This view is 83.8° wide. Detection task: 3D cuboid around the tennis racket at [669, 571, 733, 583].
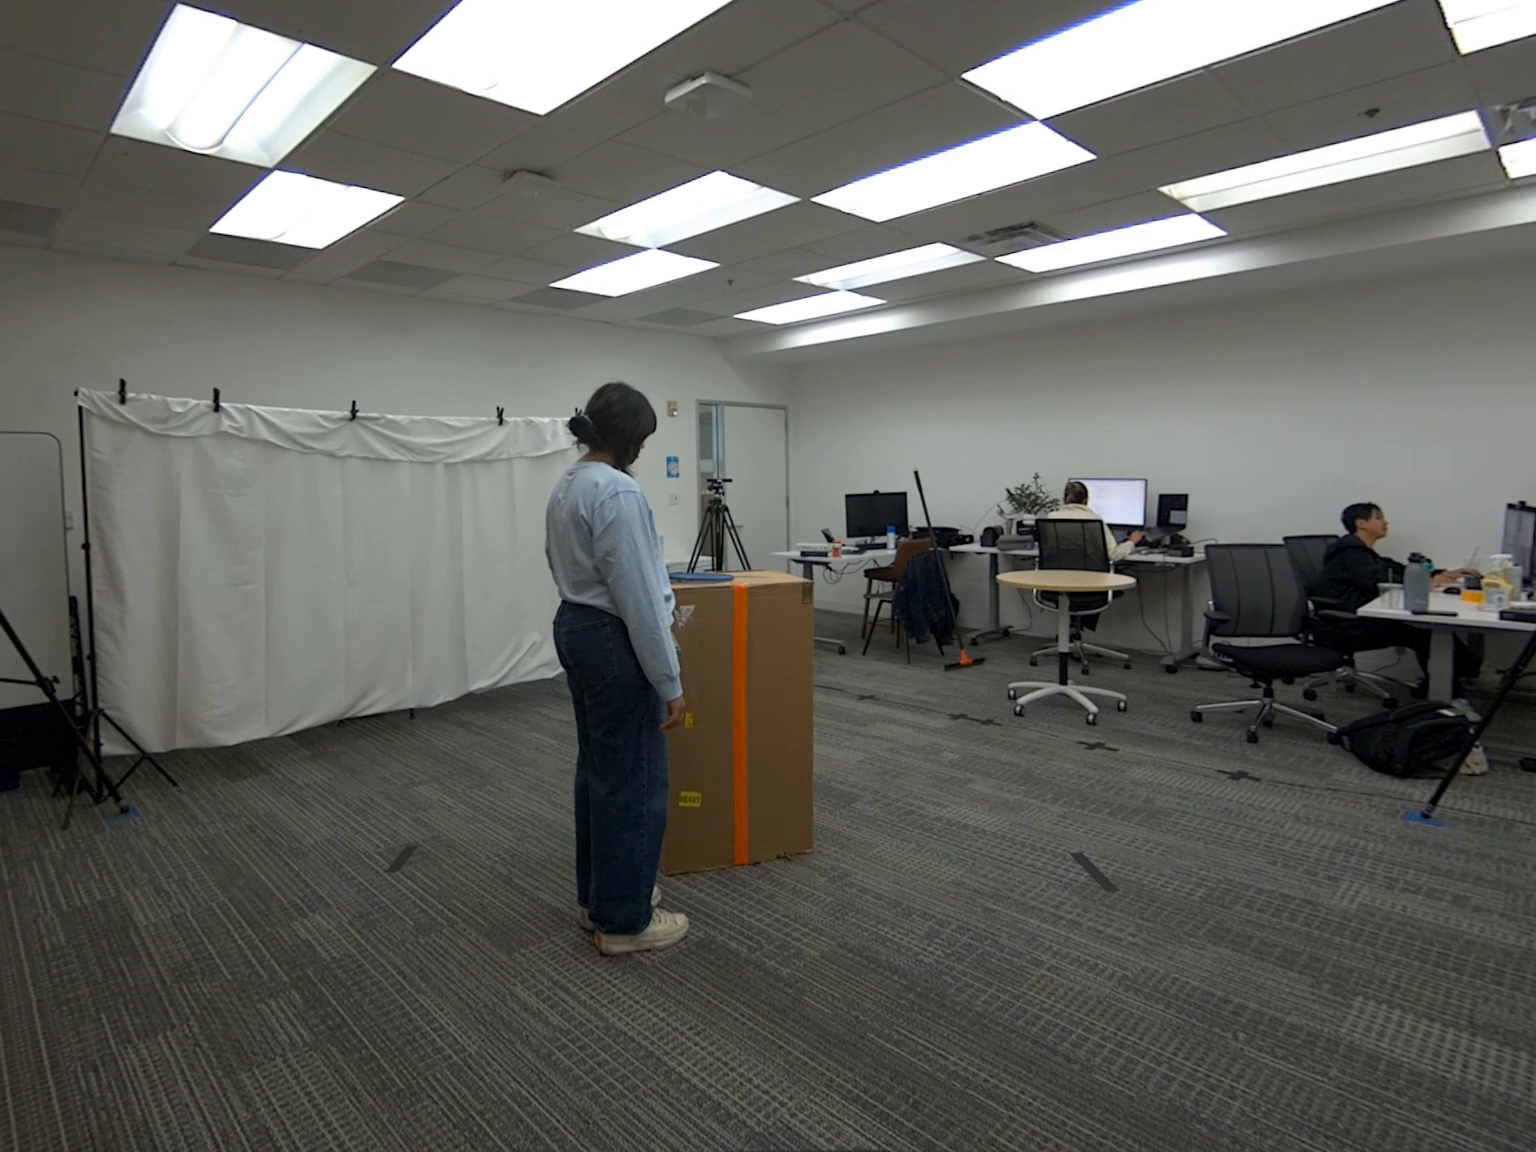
[{"bbox_3d":[-0.316,0.004,3.146,0.421,0.032,0.220,0,4,-38],"label":"tennis racket"}]
